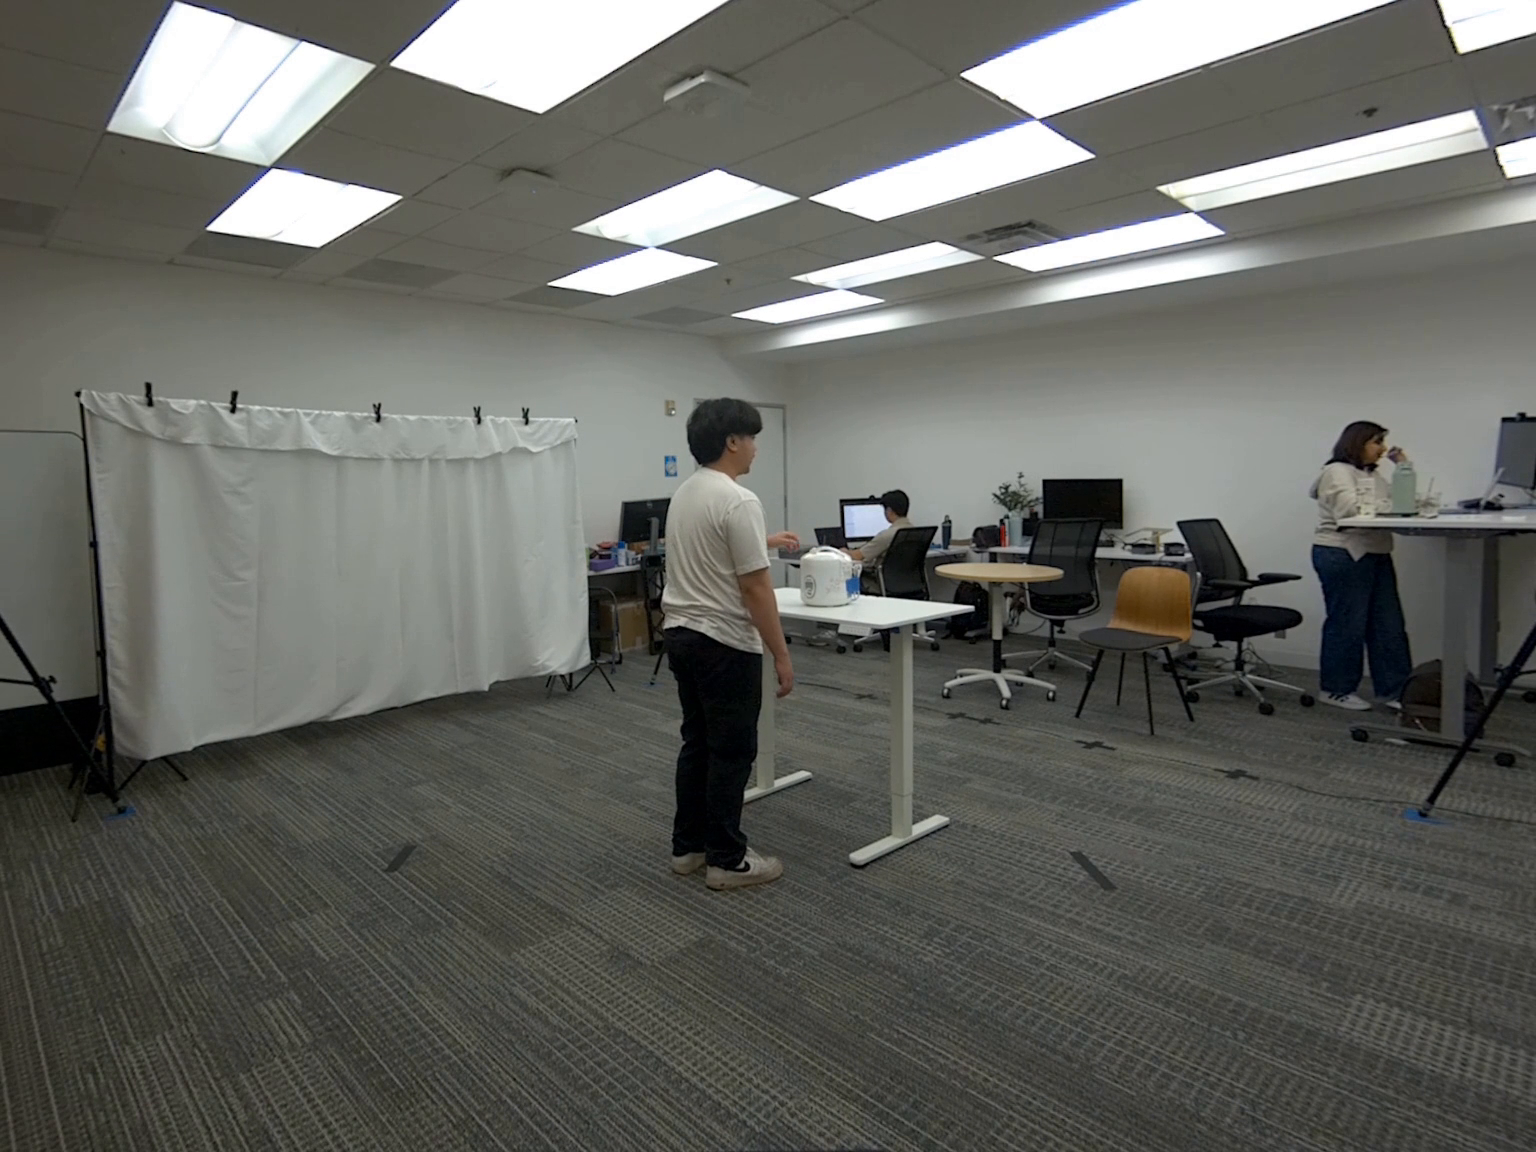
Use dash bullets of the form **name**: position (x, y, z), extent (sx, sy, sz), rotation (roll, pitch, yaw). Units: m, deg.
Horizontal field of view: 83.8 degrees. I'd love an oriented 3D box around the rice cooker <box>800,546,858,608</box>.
- **rice cooker**: position (0.239, -0.001, 3.441), extent (0.227, 0.232, 0.211), rotation (2, 4, 44)
